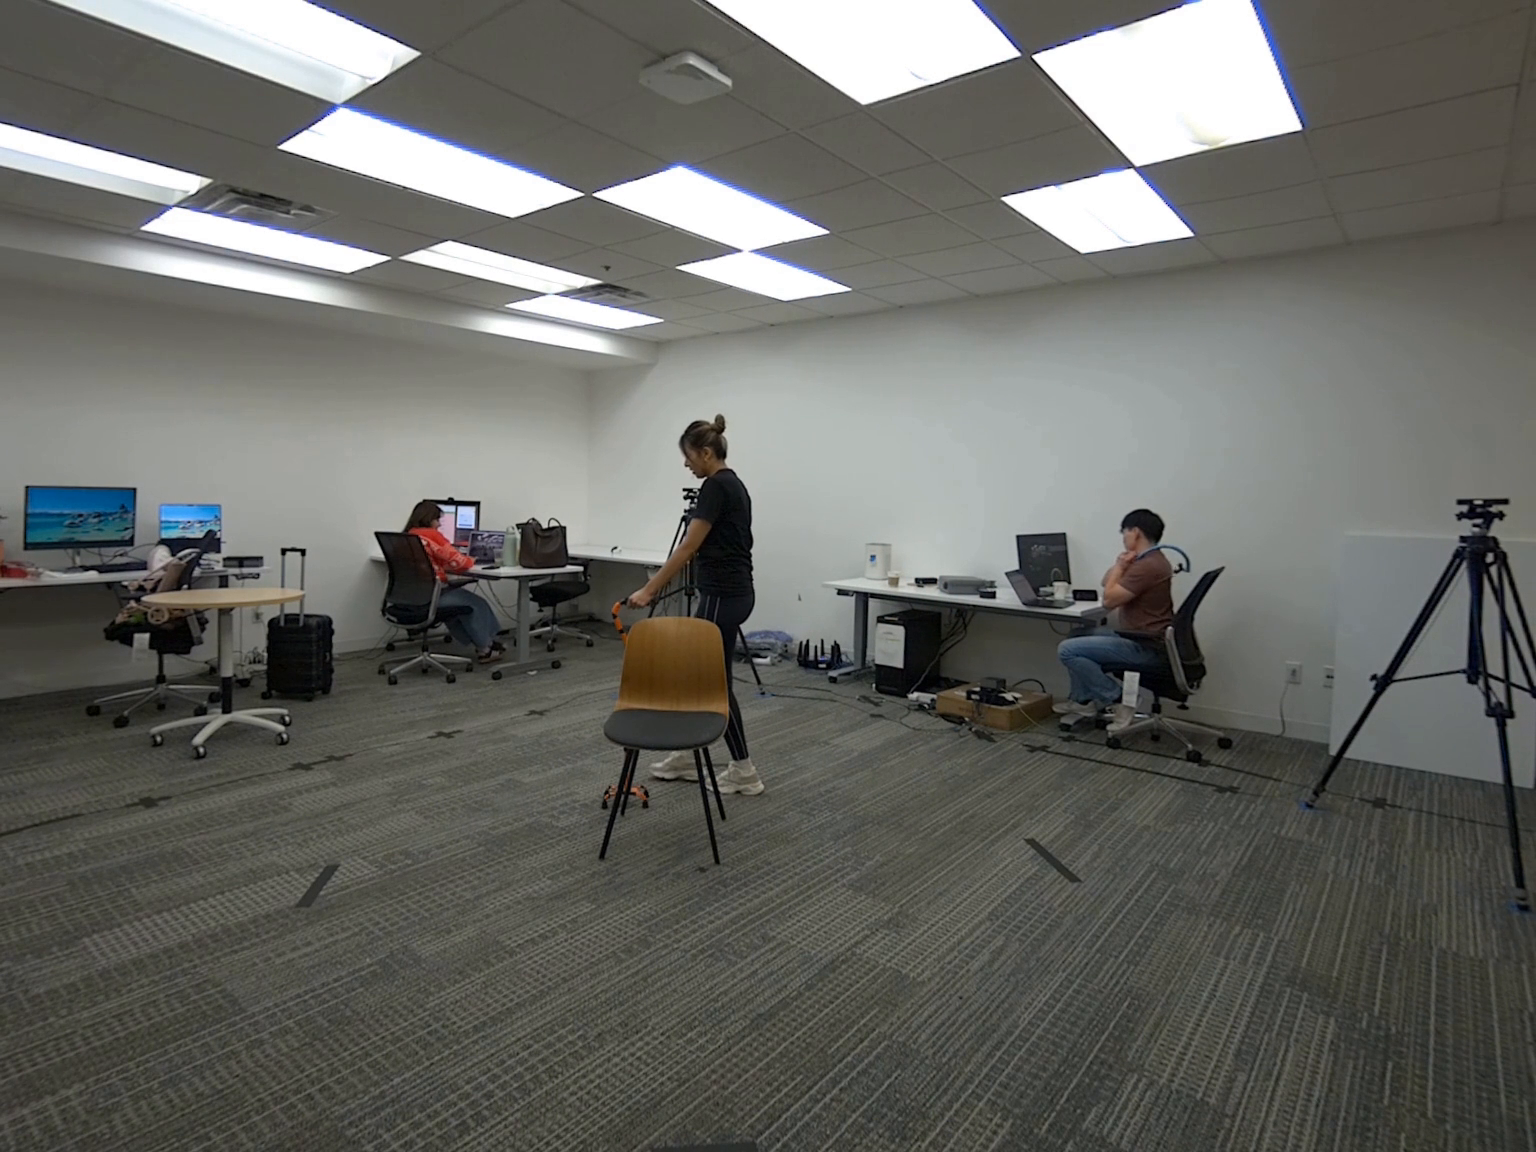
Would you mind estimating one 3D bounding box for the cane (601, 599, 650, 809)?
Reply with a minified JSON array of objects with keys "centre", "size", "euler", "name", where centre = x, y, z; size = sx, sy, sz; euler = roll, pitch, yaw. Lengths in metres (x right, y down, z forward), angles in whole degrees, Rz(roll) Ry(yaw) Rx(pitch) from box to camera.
[{"centre":[-0.635,0.546,3.739],"size":[0.206,0.905,0.152],"euler":[0,3,-4],"name":"cane"}]
